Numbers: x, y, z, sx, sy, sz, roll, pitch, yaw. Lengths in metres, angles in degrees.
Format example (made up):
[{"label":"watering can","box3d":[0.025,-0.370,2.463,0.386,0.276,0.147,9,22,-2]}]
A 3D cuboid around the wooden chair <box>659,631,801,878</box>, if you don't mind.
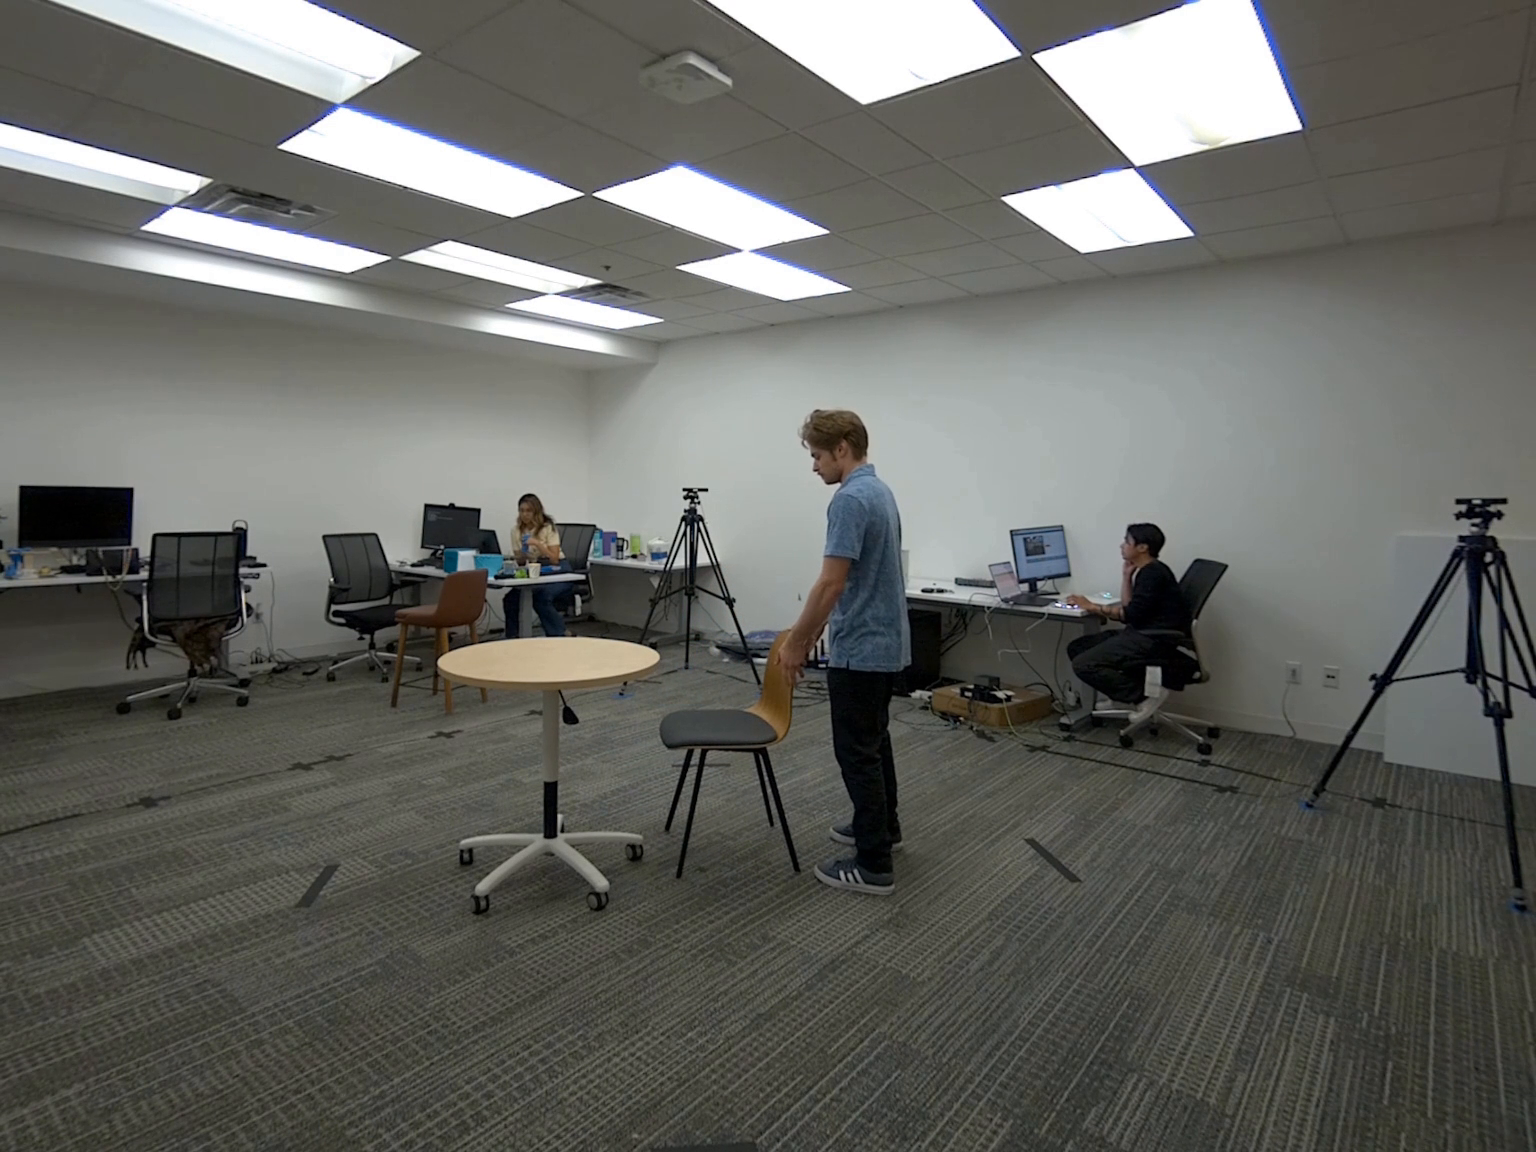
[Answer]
[{"label":"wooden chair","box3d":[-0.159,0.629,3.251,0.516,0.875,0.486,5,3,-12]}]
